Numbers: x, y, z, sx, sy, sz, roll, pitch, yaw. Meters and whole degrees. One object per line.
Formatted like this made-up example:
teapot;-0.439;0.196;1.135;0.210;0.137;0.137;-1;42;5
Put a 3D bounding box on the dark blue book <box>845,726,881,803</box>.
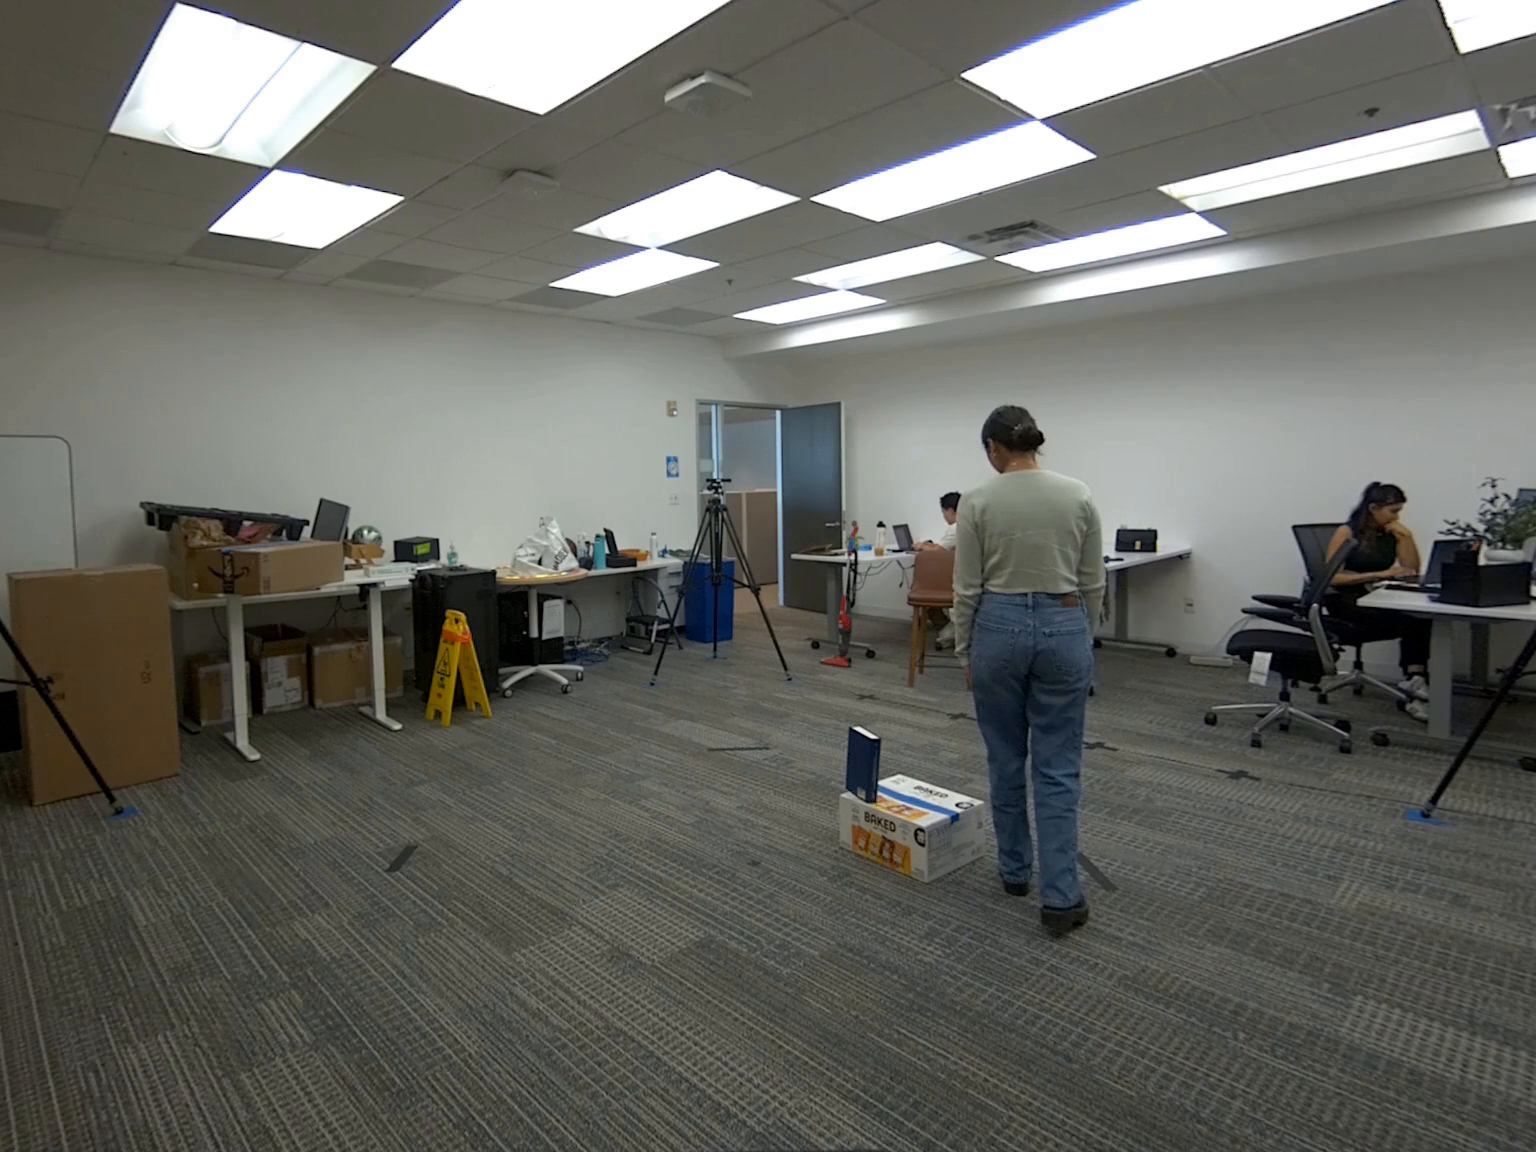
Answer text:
dark blue book;0.361;0.704;3.202;0.044;0.244;0.167;0;5;-23
